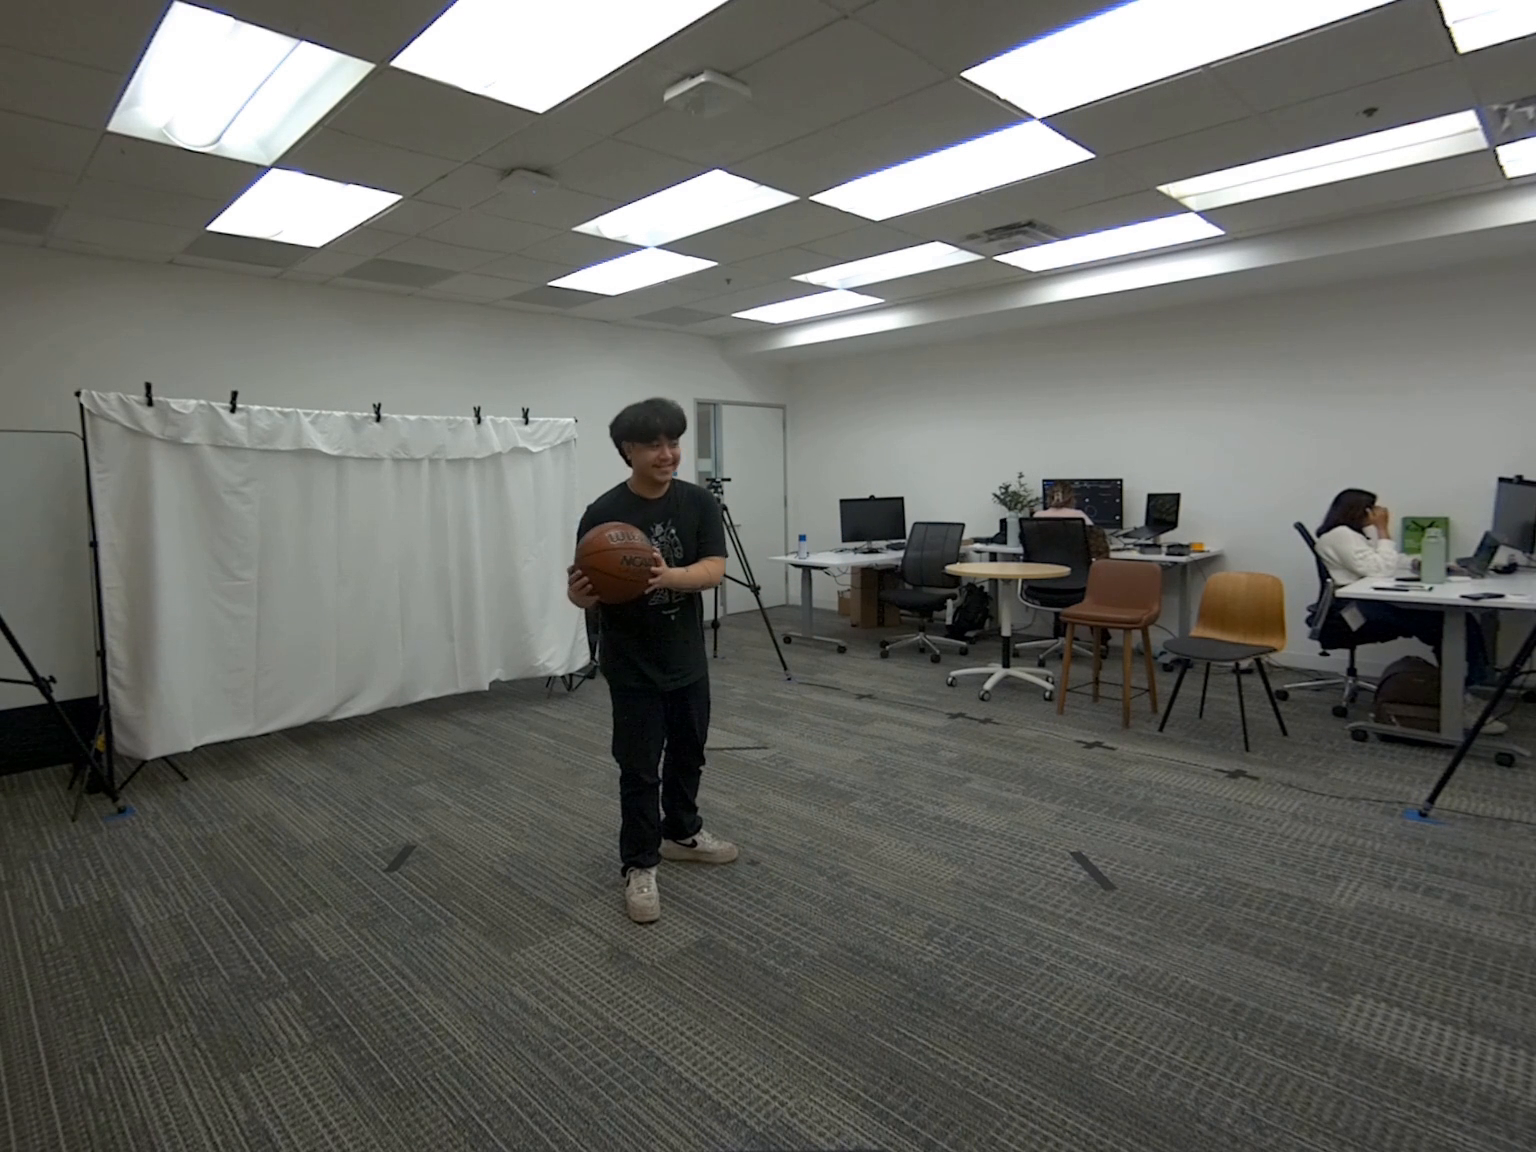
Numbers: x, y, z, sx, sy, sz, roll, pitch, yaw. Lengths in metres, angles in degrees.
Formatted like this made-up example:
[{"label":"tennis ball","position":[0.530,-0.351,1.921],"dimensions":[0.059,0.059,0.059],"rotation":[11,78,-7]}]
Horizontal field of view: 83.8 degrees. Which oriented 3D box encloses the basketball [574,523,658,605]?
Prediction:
[{"label":"basketball","position":[-0.441,-0.038,2.516],"dimensions":[0.236,0.235,0.237],"rotation":[-1,5,-2]}]
